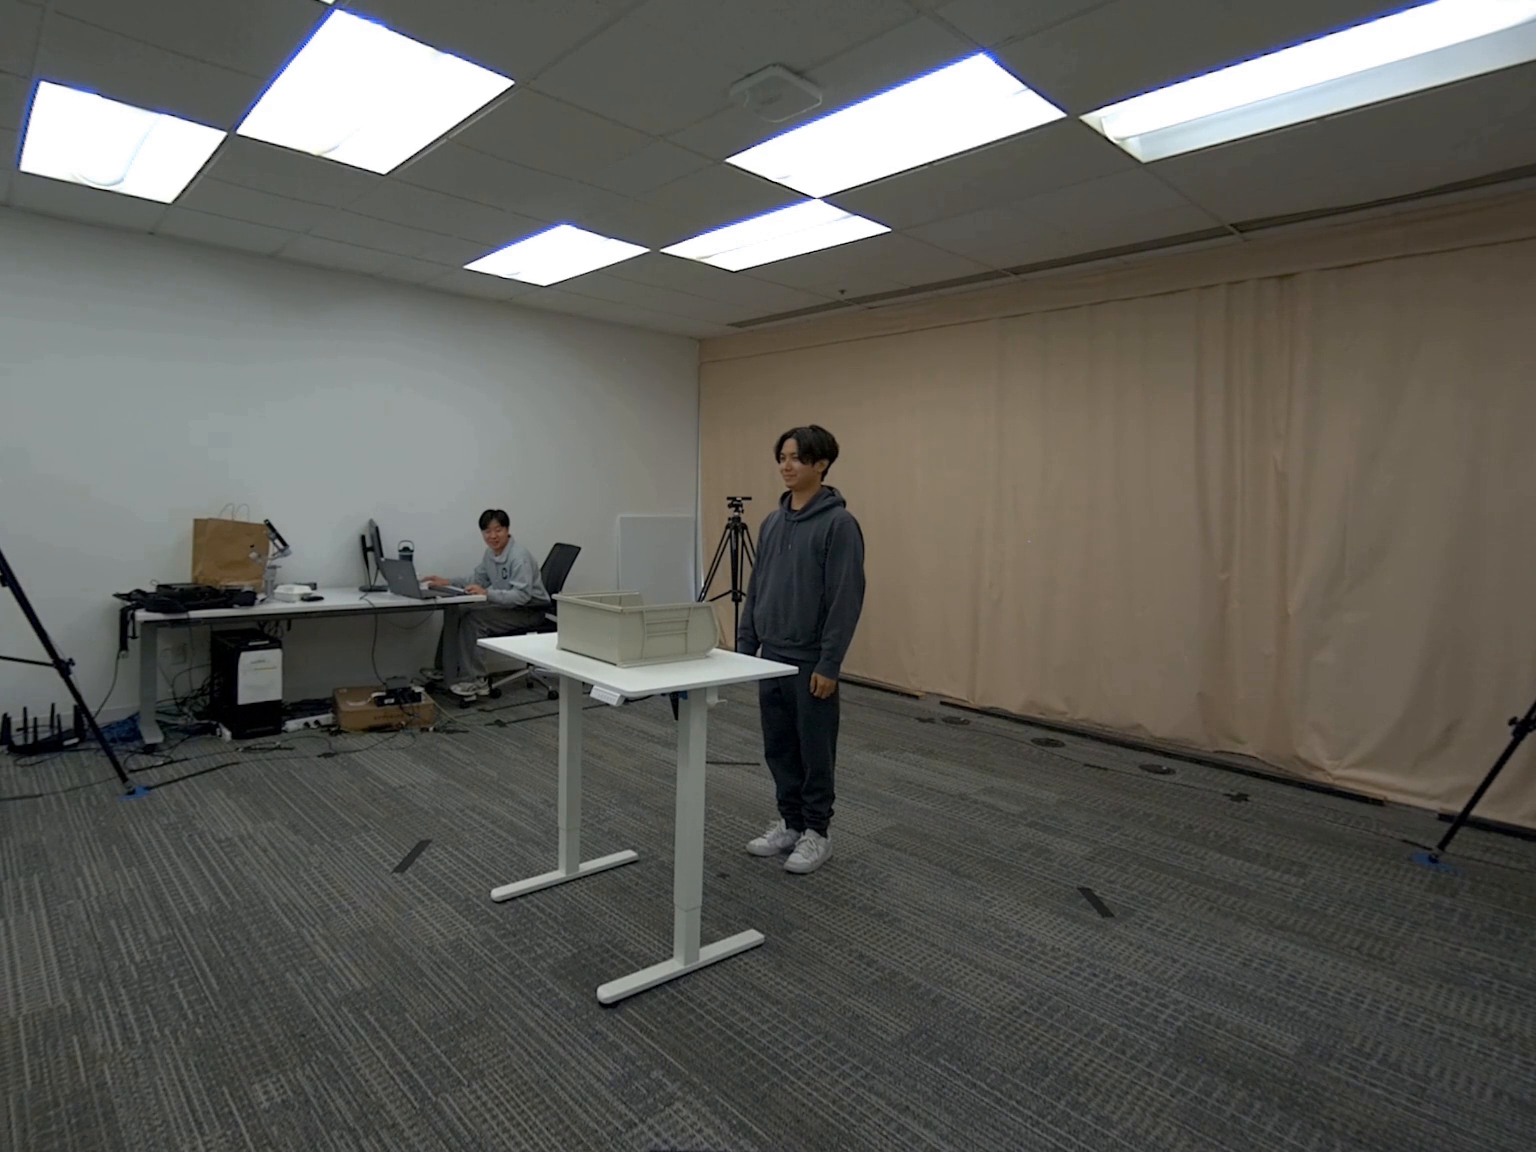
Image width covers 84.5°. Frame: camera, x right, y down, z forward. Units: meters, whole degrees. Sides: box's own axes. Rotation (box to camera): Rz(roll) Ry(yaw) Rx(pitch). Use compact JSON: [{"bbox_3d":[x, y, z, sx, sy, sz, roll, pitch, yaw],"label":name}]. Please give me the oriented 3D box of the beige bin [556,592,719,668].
[{"bbox_3d":[-0.436,0.163,2.725,0.369,0.188,0.433,-3,6,-41],"label":"beige bin"}]
